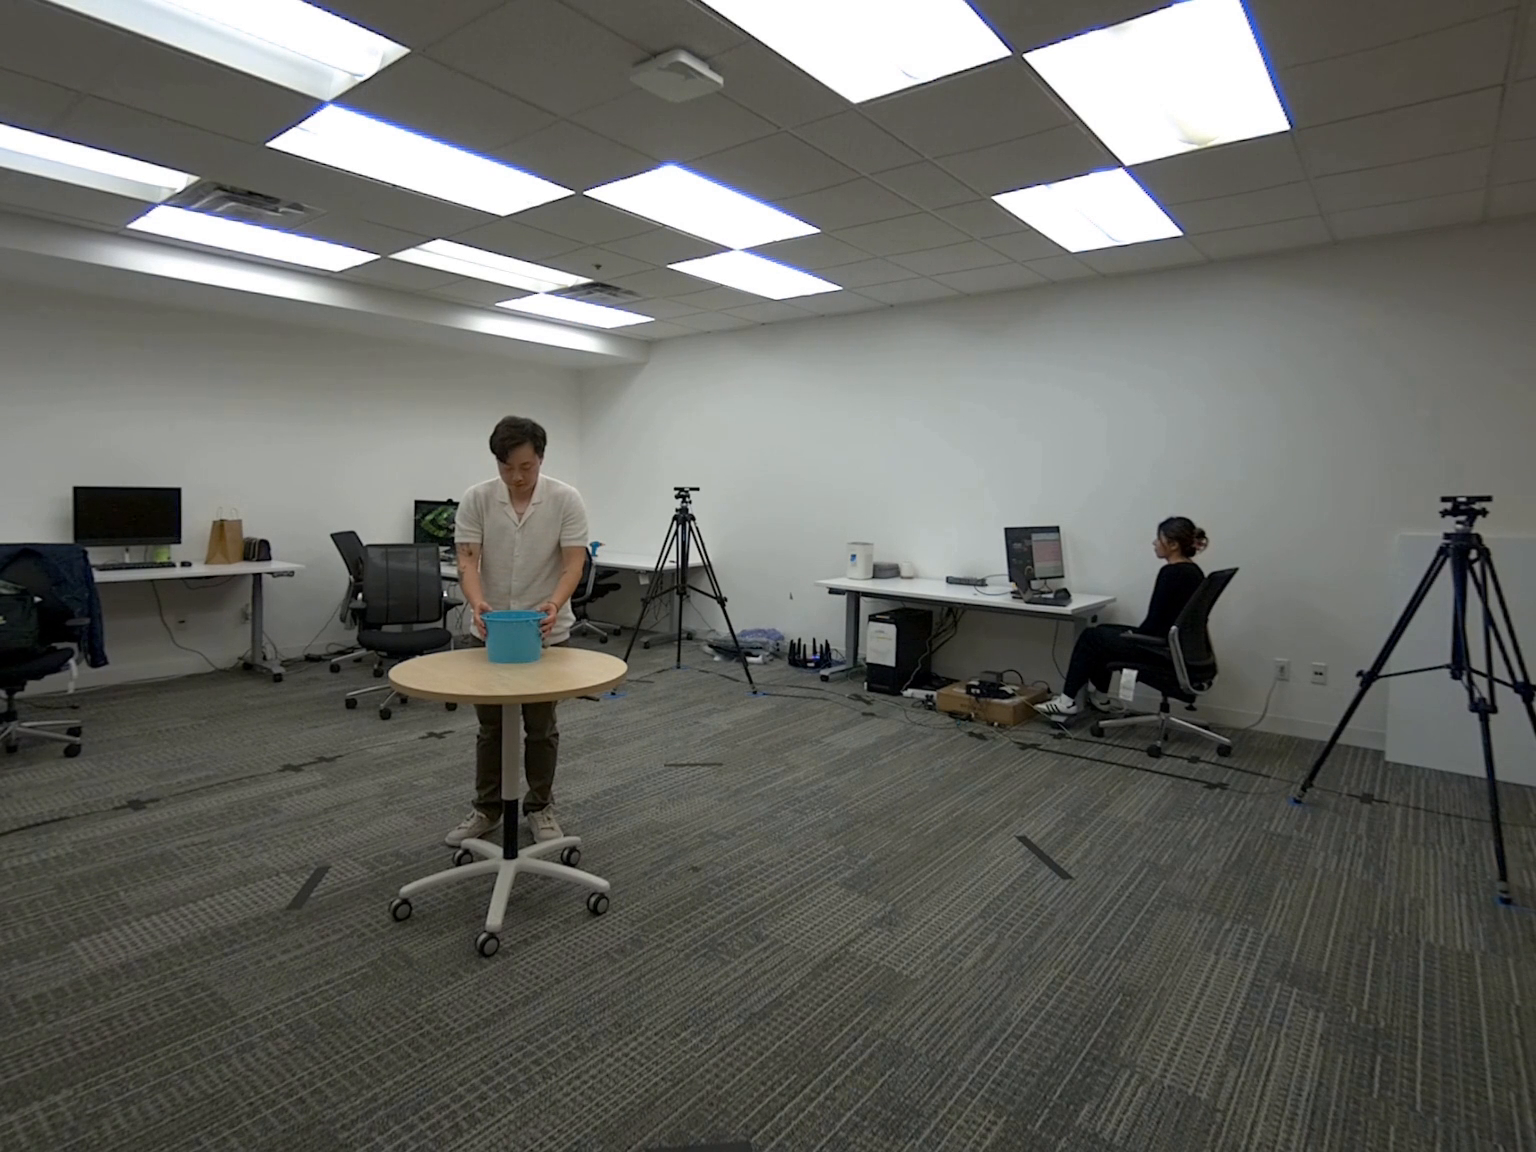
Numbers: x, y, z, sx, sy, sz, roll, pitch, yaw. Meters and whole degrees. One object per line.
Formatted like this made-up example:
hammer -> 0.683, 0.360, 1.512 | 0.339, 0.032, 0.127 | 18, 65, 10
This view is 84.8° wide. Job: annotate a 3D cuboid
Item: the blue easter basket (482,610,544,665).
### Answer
blue easter basket -> -0.900, 0.211, 2.982 | 0.243, 0.155, 0.245 | 1, 6, -2
